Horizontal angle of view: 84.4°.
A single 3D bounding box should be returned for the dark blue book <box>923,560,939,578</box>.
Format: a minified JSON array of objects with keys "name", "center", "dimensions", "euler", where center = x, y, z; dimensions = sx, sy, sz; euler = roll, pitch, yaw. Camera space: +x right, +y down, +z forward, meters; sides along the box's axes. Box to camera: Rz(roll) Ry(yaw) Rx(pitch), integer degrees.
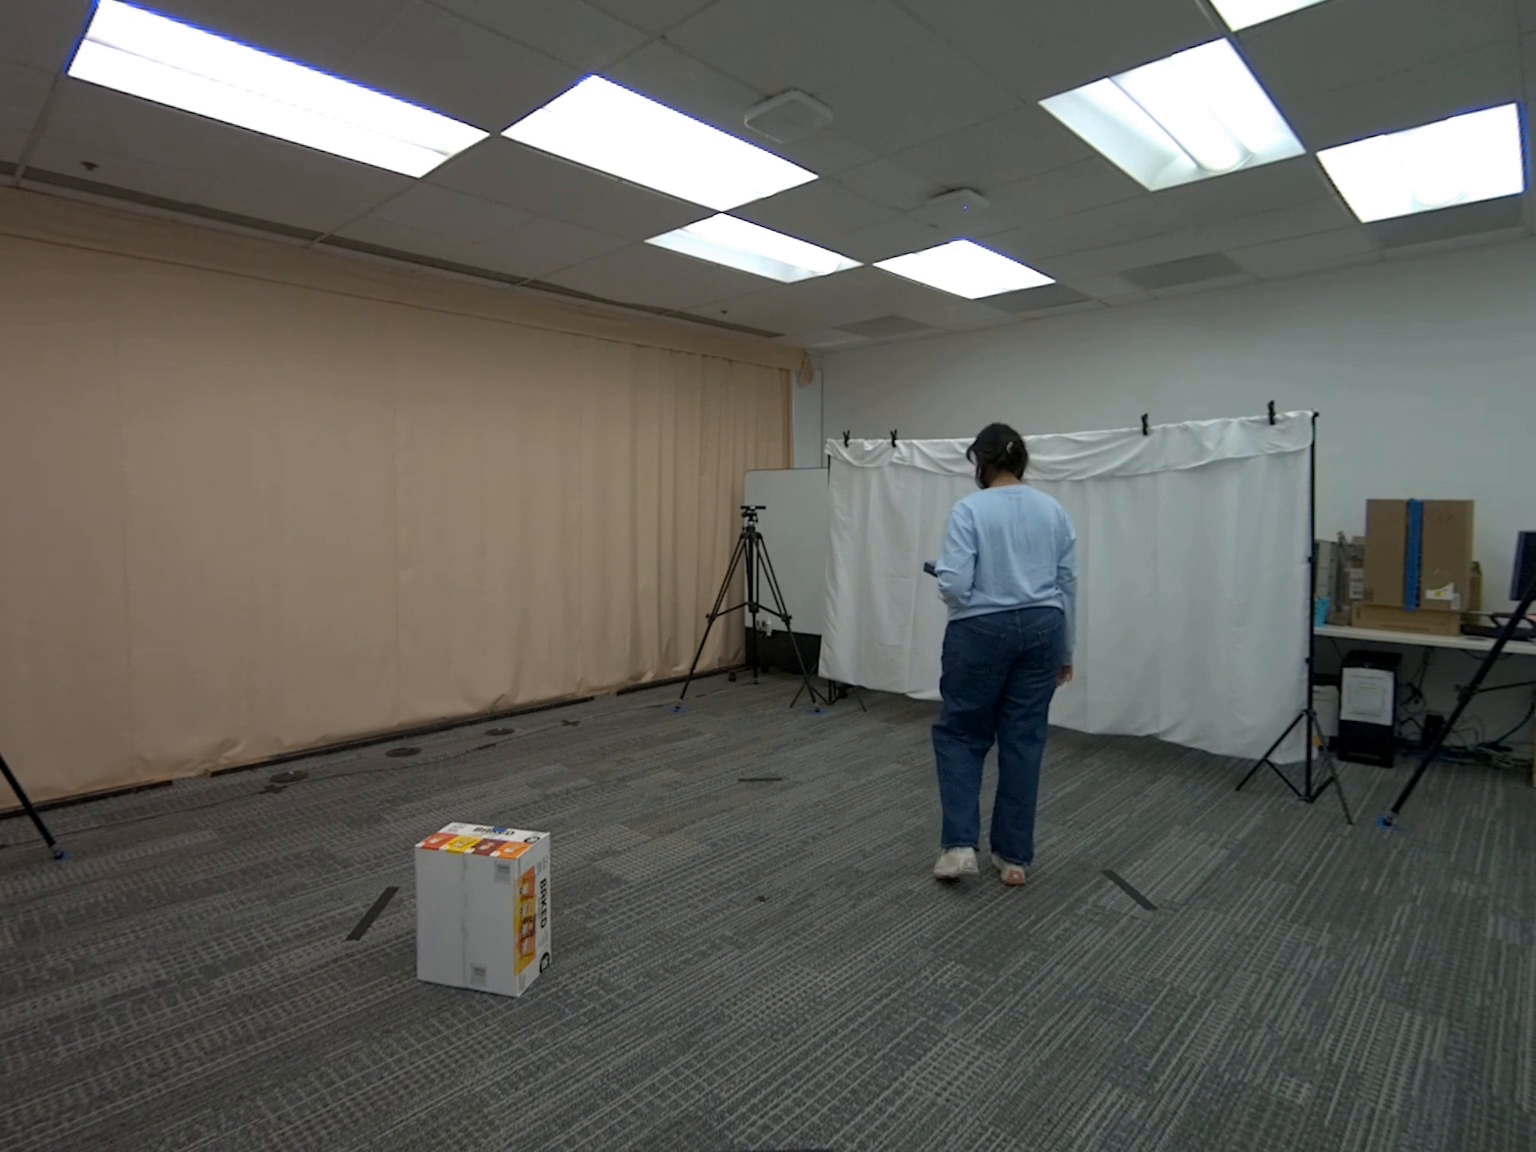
[{"name":"dark blue book","center":[0.799,-0.008,3.424],"dimensions":[0.161,0.045,0.251],"euler":[-2,18,-17]}]
